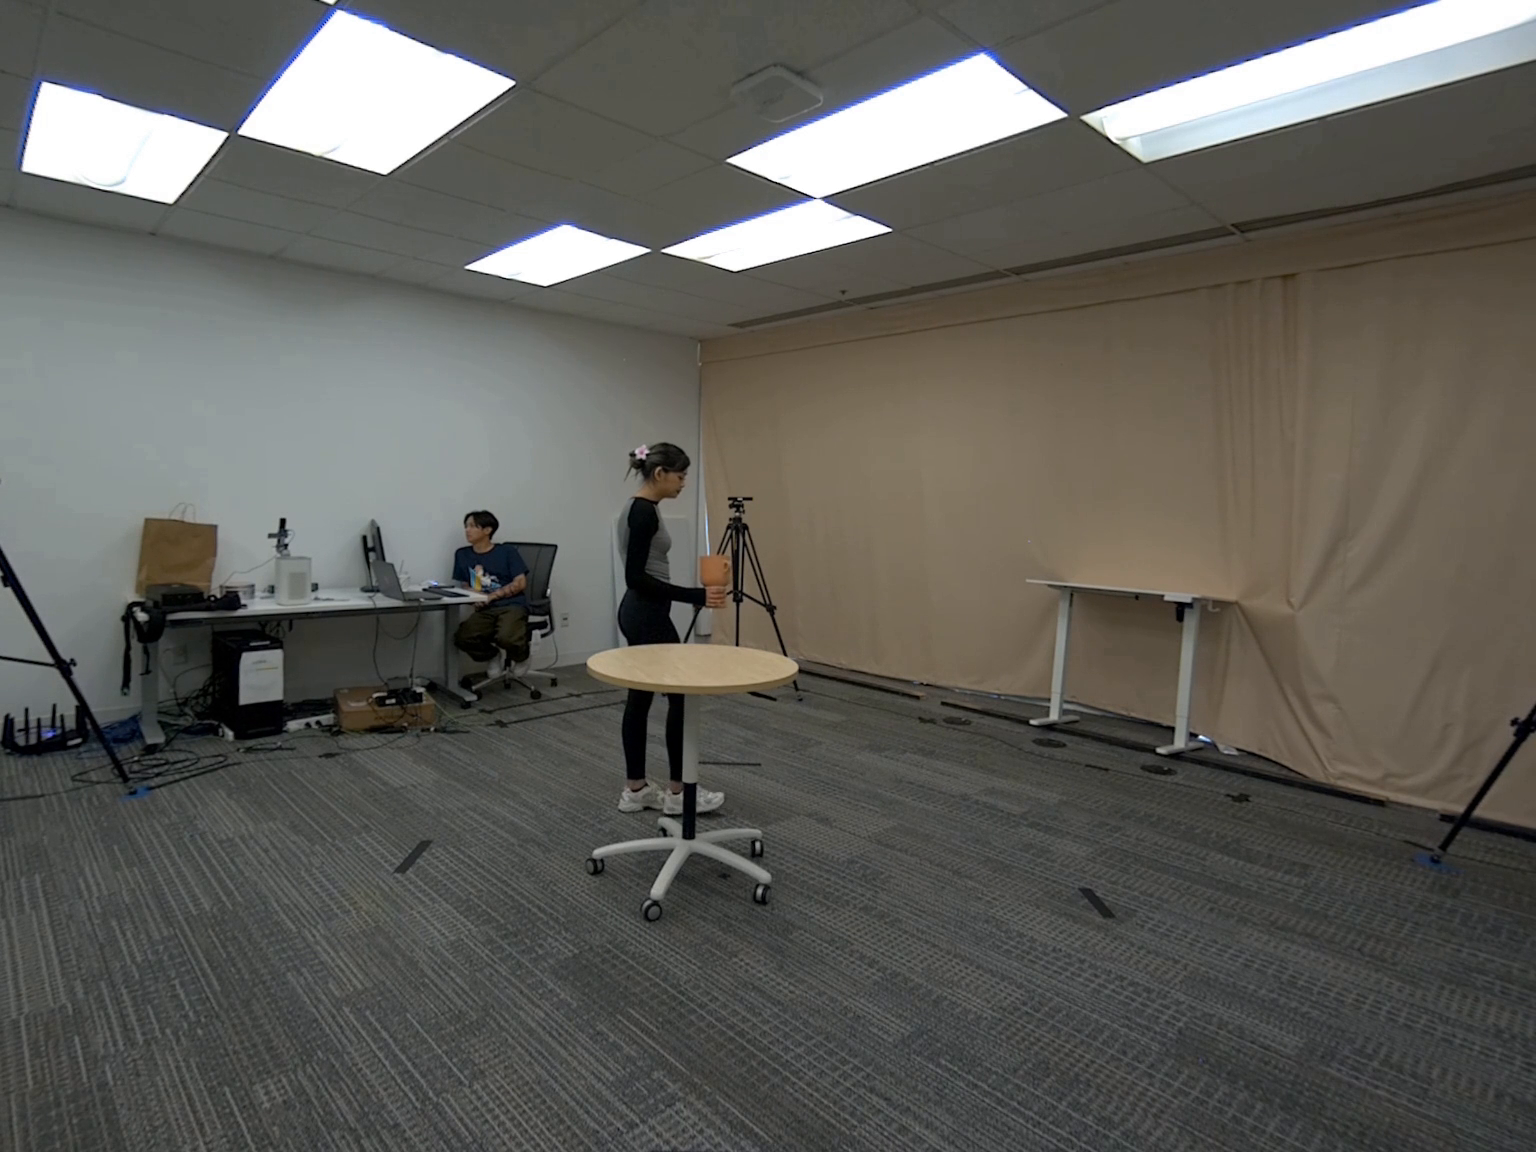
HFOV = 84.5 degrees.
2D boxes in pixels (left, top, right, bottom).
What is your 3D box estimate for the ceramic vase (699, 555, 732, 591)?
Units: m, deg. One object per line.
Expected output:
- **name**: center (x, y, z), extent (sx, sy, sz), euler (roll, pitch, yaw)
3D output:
- **ceramic vase**: center (-0.236, 0.025, 3.609), extent (0.134, 0.221, 0.158), euler (0, -7, -5)
